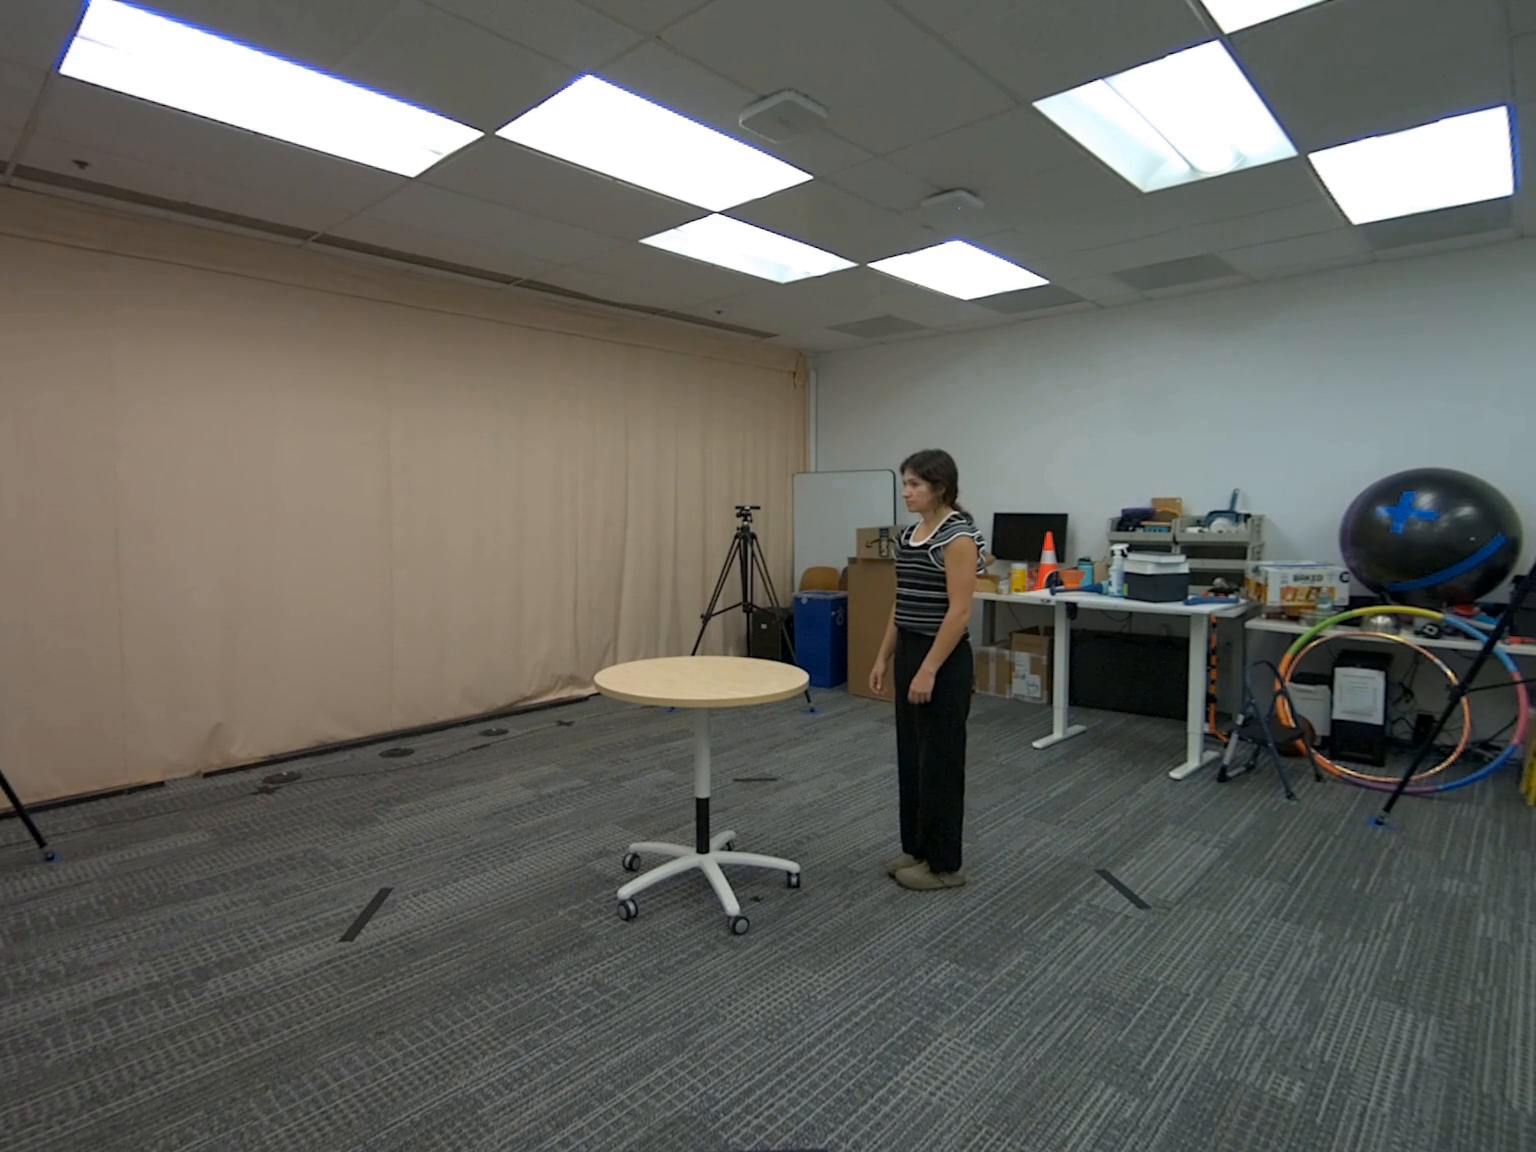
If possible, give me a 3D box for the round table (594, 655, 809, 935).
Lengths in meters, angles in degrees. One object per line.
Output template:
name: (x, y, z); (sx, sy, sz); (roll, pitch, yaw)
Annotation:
round table: (-0.230, 0.752, 3.023); (0.784, 0.785, 0.788); (0, 3, -2)
